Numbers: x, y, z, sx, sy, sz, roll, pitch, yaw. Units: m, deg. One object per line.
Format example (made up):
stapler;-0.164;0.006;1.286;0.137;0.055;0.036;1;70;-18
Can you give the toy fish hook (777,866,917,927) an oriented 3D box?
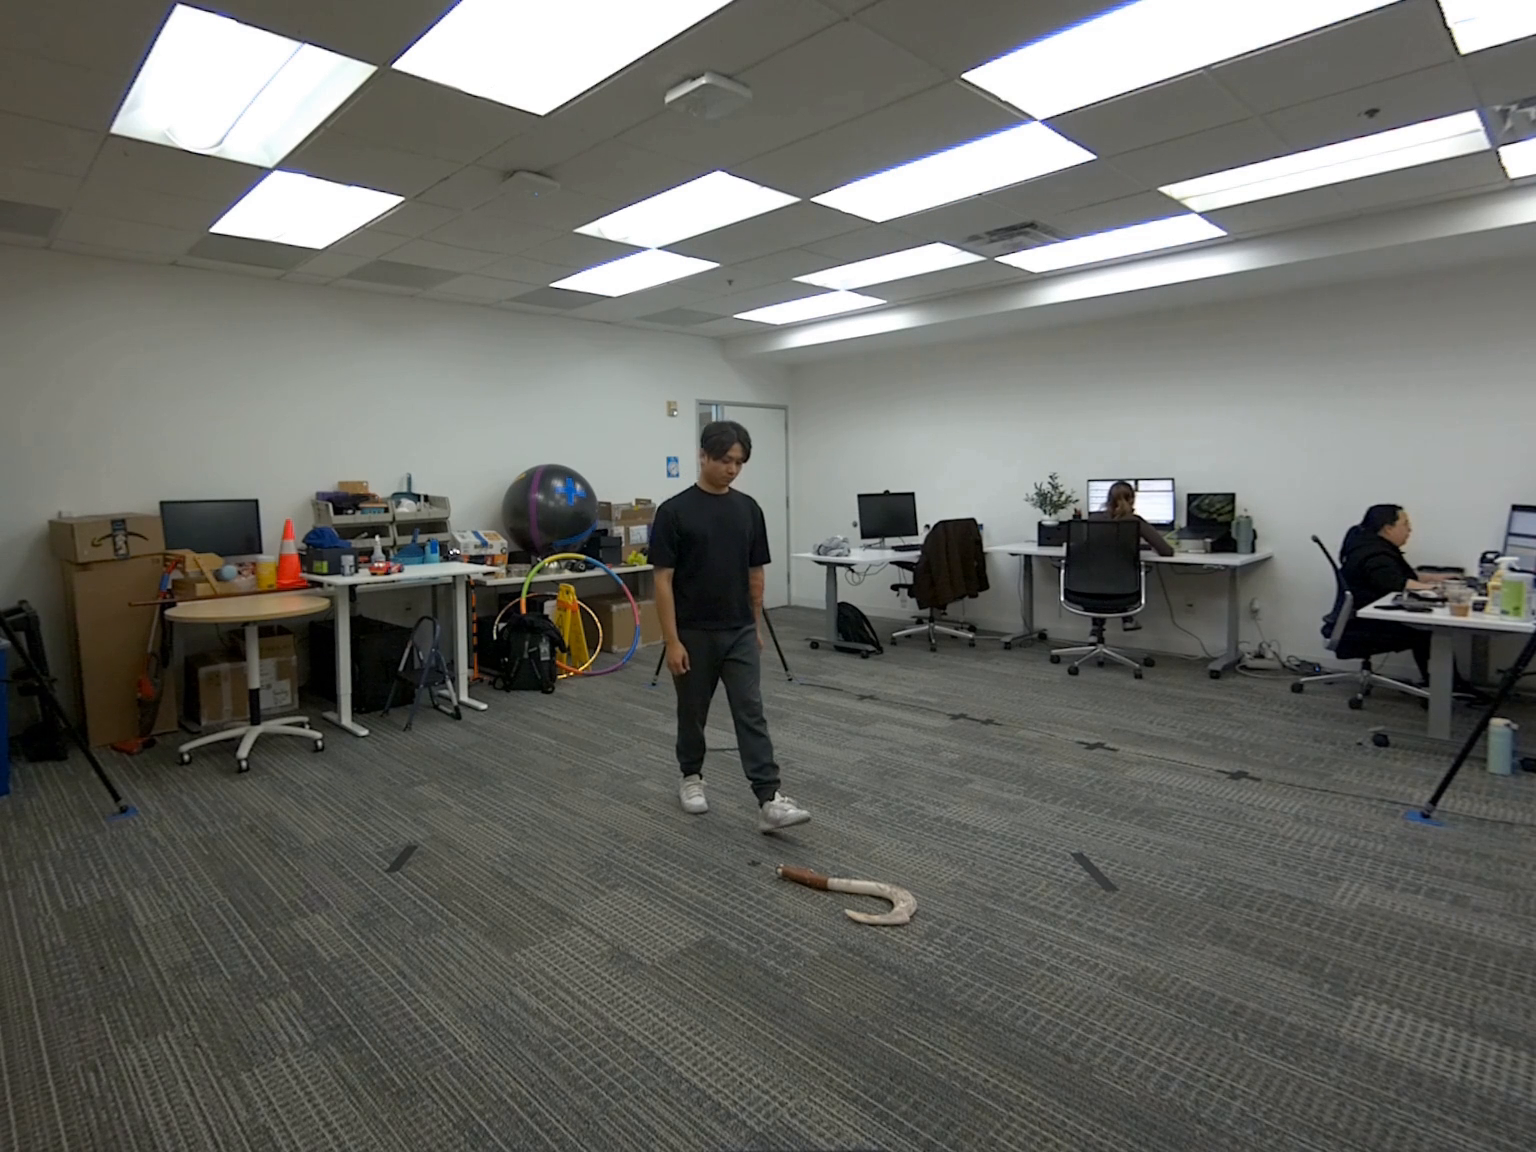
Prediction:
toy fish hook;0.237;1.050;2.824;0.520;0.048;0.220;2;6;30
